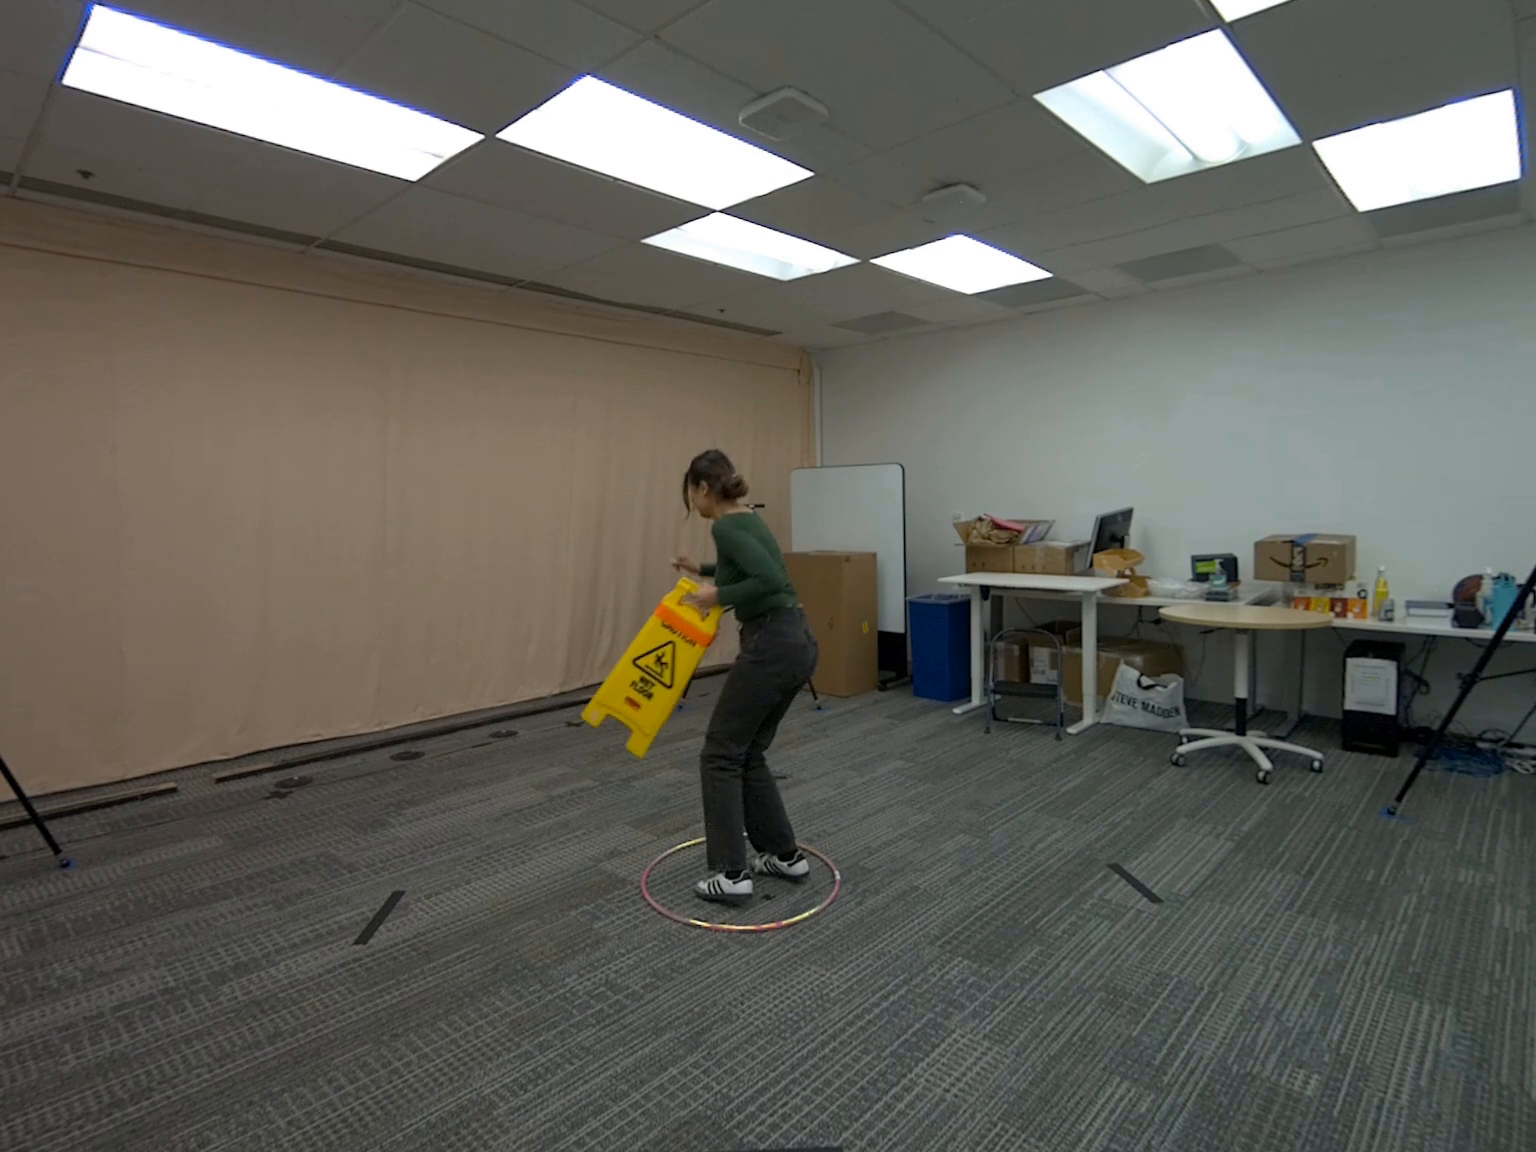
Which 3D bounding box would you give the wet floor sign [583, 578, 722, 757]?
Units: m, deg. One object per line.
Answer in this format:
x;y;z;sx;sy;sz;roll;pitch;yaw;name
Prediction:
-0.345;0.267;3.179;0.283;0.646;0.288;34;18;2;wet floor sign
